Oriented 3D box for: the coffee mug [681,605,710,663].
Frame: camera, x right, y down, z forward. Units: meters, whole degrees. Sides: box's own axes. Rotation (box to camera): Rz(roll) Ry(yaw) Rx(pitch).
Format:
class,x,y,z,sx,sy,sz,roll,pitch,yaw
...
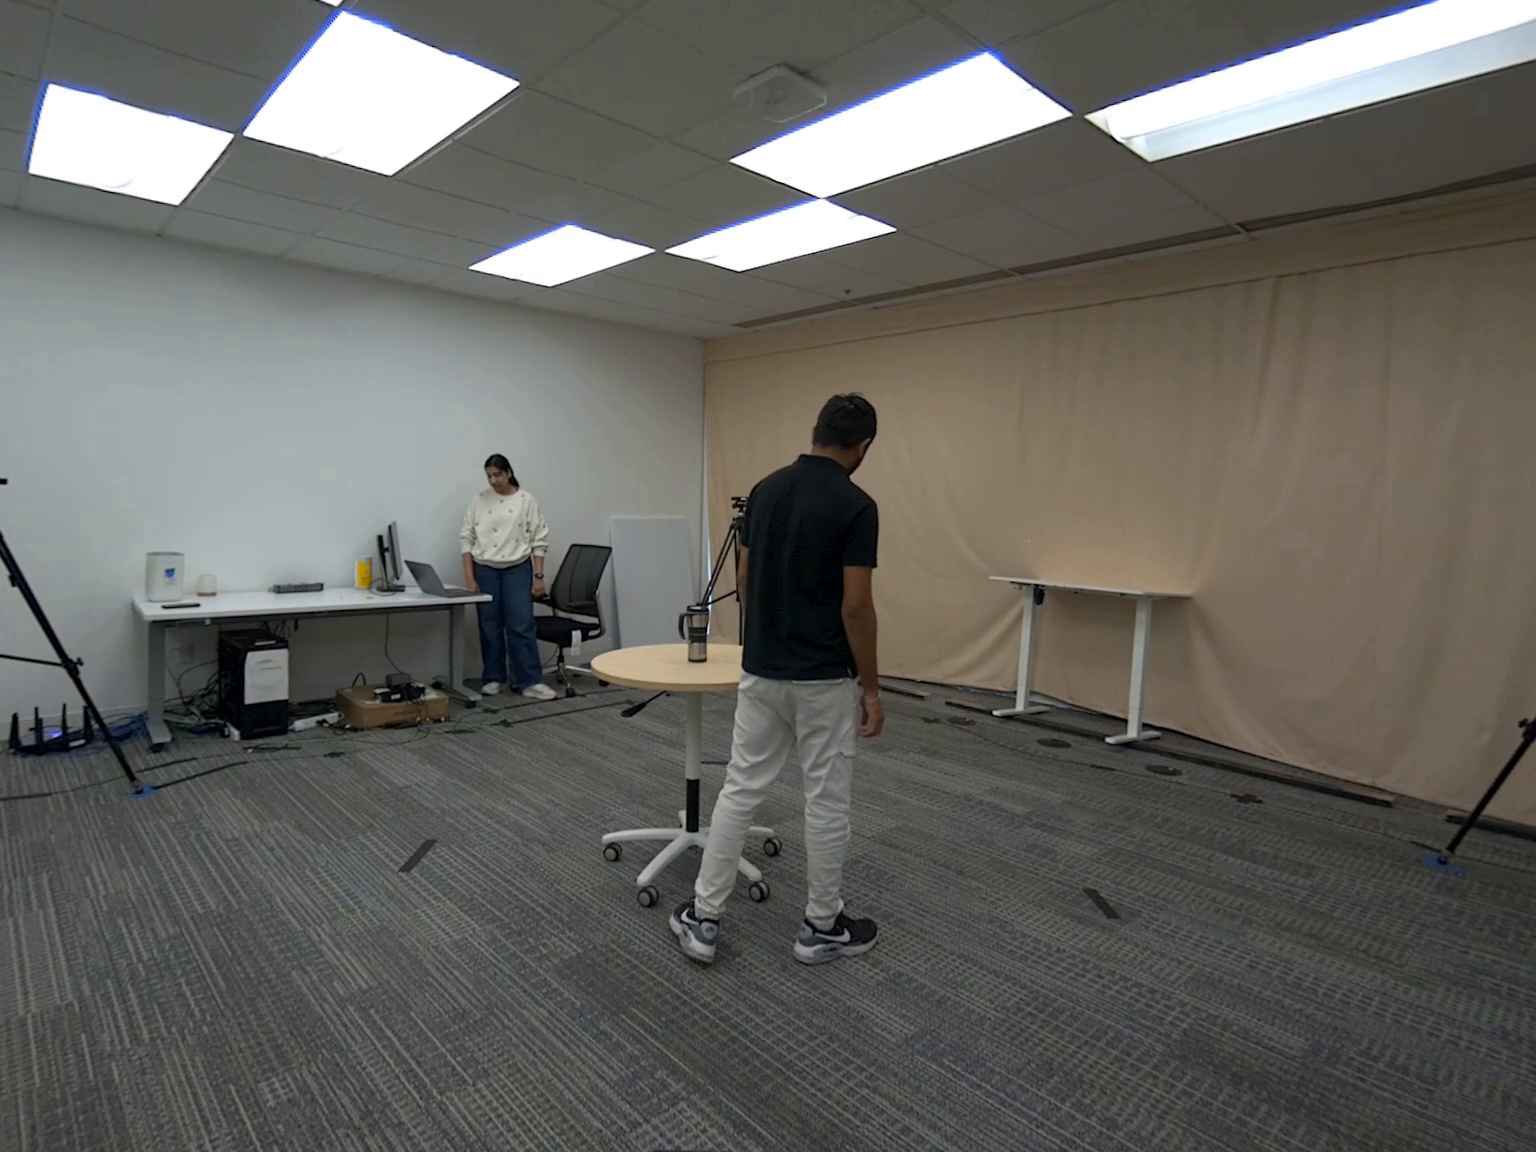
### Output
class,x,y,z,sx,sy,sz,roll,pitch,yaw
coffee mug,-0.291,0.222,3.126,0.120,0.202,0.090,4,5,-24
